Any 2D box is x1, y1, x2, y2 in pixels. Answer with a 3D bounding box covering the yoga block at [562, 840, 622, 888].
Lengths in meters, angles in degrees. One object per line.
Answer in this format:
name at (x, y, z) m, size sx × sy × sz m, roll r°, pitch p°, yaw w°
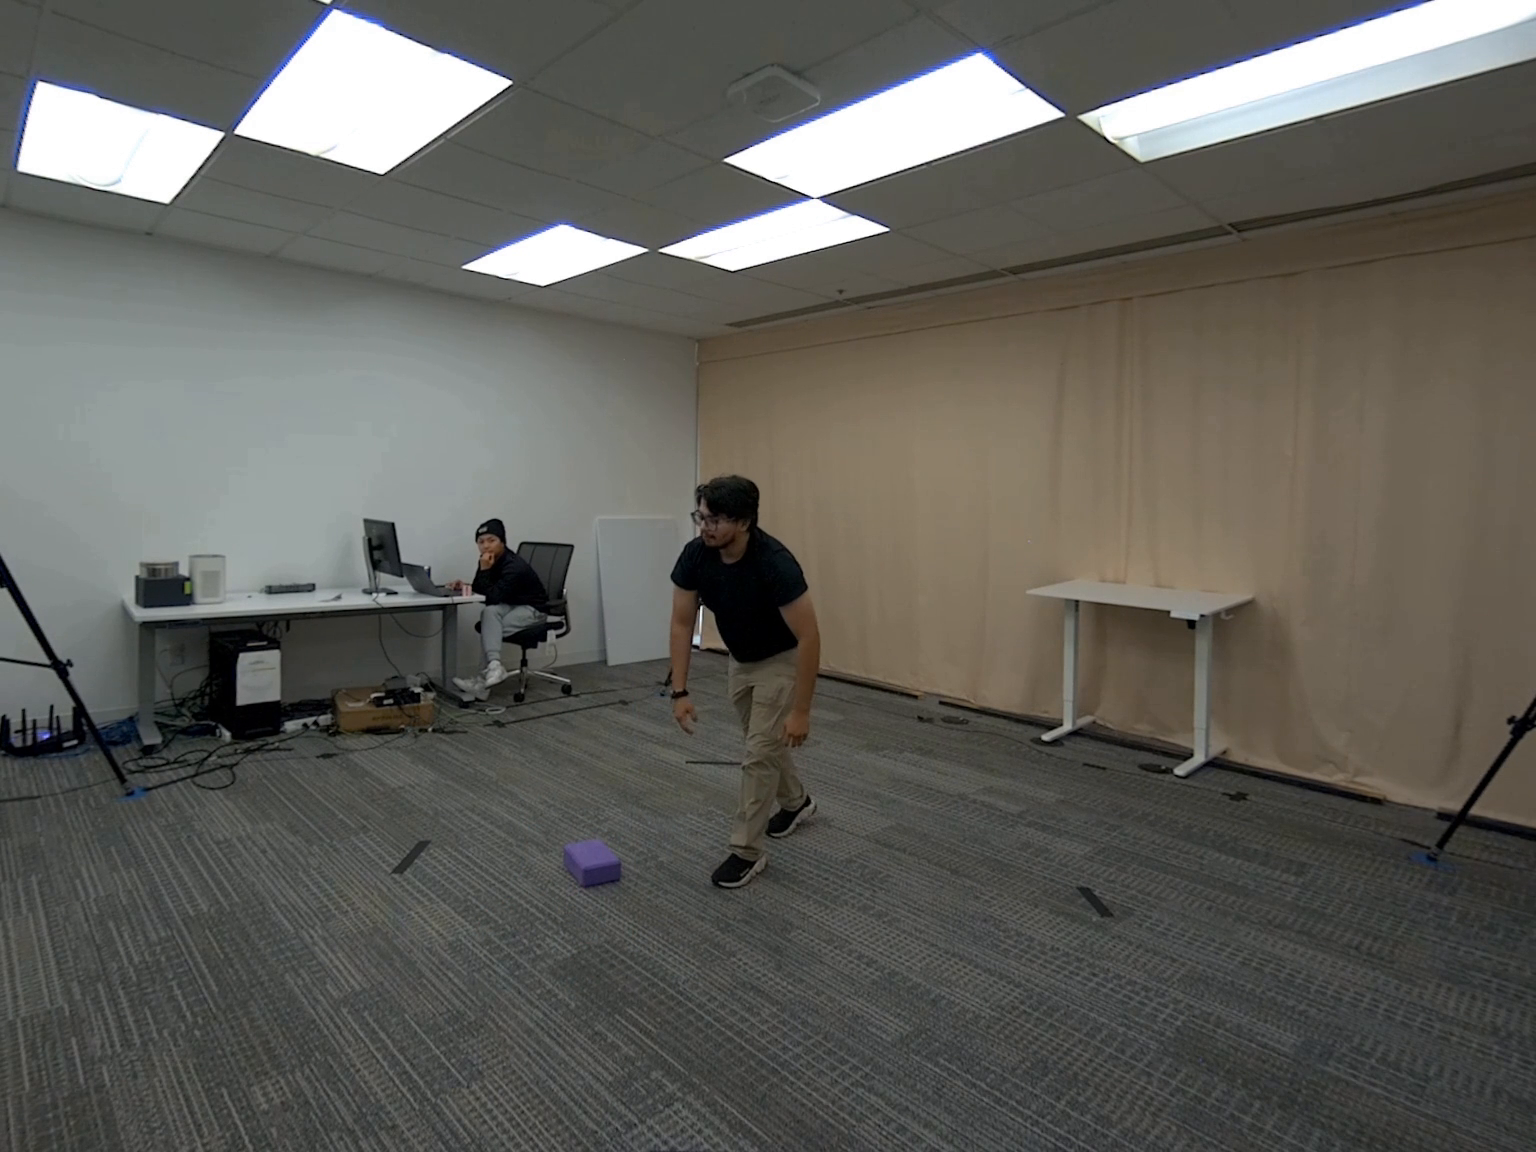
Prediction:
yoga block at (-0.657, 1.053, 3.103) m, size 0.146 × 0.076 × 0.235 m, roll -1°, pitch 6°, yaw -31°
